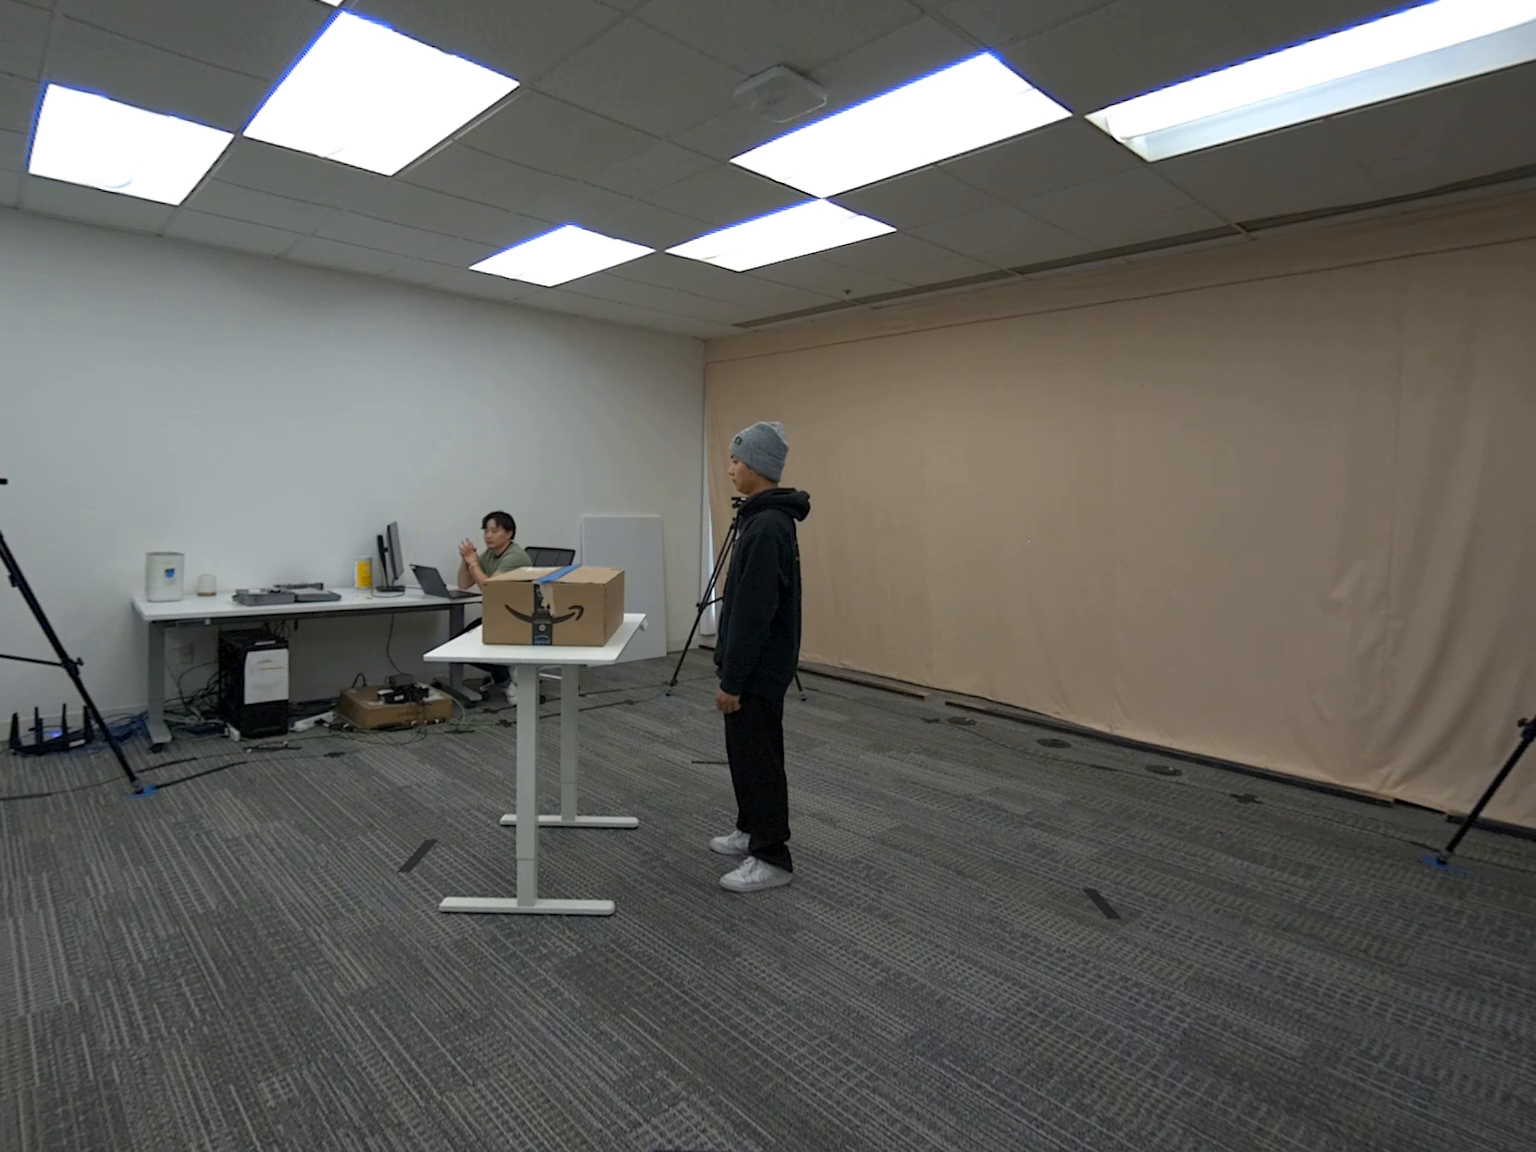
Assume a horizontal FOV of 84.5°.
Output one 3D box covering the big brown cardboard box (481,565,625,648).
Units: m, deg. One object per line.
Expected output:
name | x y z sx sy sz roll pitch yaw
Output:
big brown cardboard box | -0.772 0.099 3.121 0.417 0.232 0.592 1 6 -2
